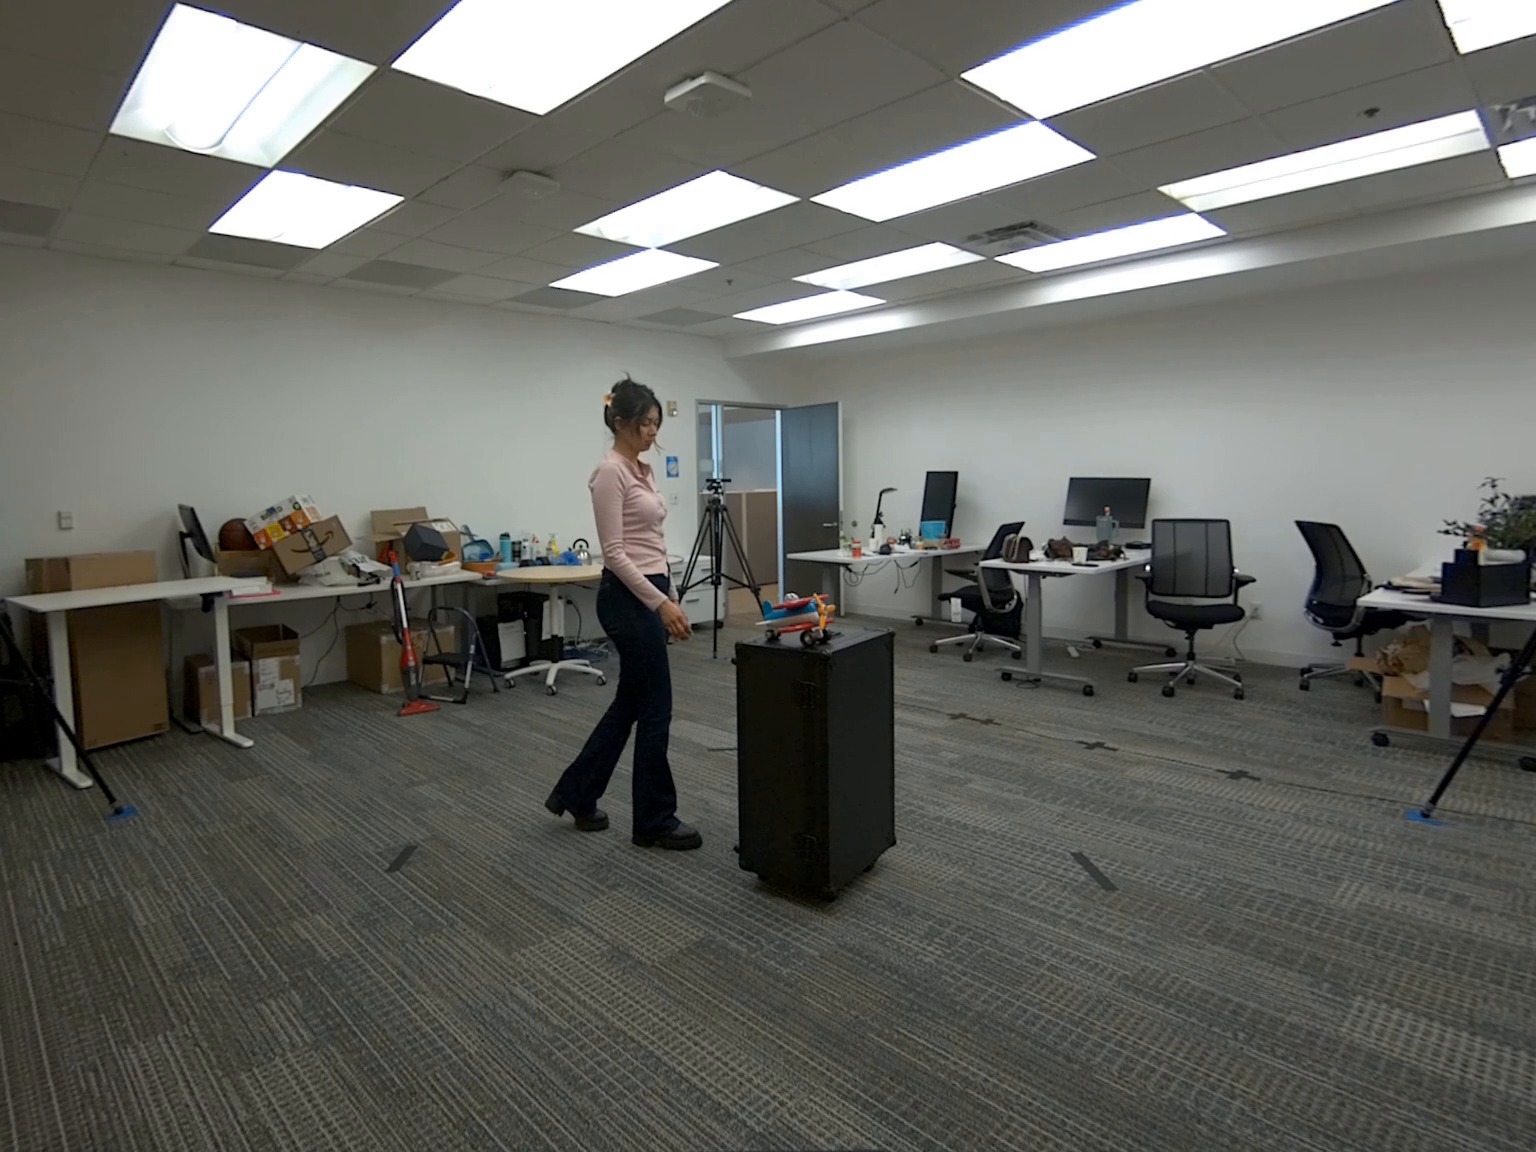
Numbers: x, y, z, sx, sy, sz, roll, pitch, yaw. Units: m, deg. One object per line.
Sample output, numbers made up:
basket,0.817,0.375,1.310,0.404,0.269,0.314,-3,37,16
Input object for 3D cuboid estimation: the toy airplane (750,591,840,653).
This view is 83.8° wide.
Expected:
toy airplane,0.093,0.145,2.836,0.262,0.156,0.249,1,5,12
